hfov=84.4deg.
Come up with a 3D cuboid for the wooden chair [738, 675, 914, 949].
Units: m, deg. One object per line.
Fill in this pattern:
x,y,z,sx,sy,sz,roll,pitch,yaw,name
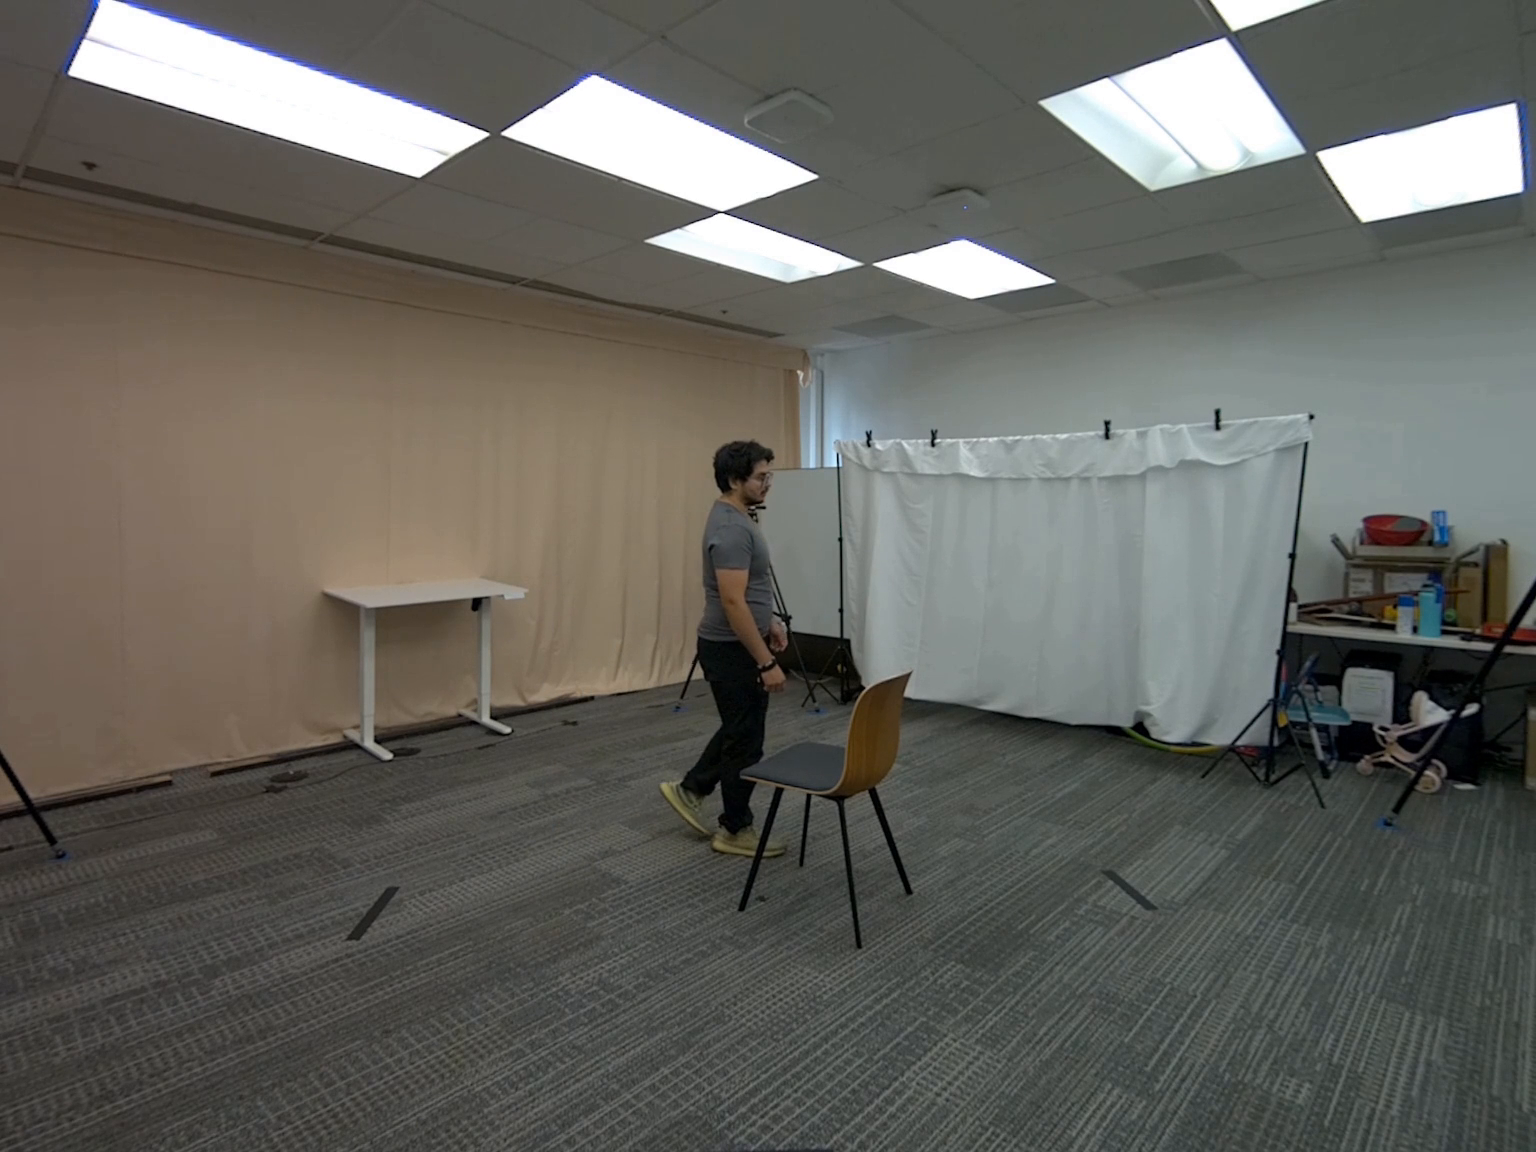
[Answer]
0.204,0.719,2.926,0.539,0.874,0.465,7,7,32,wooden chair
